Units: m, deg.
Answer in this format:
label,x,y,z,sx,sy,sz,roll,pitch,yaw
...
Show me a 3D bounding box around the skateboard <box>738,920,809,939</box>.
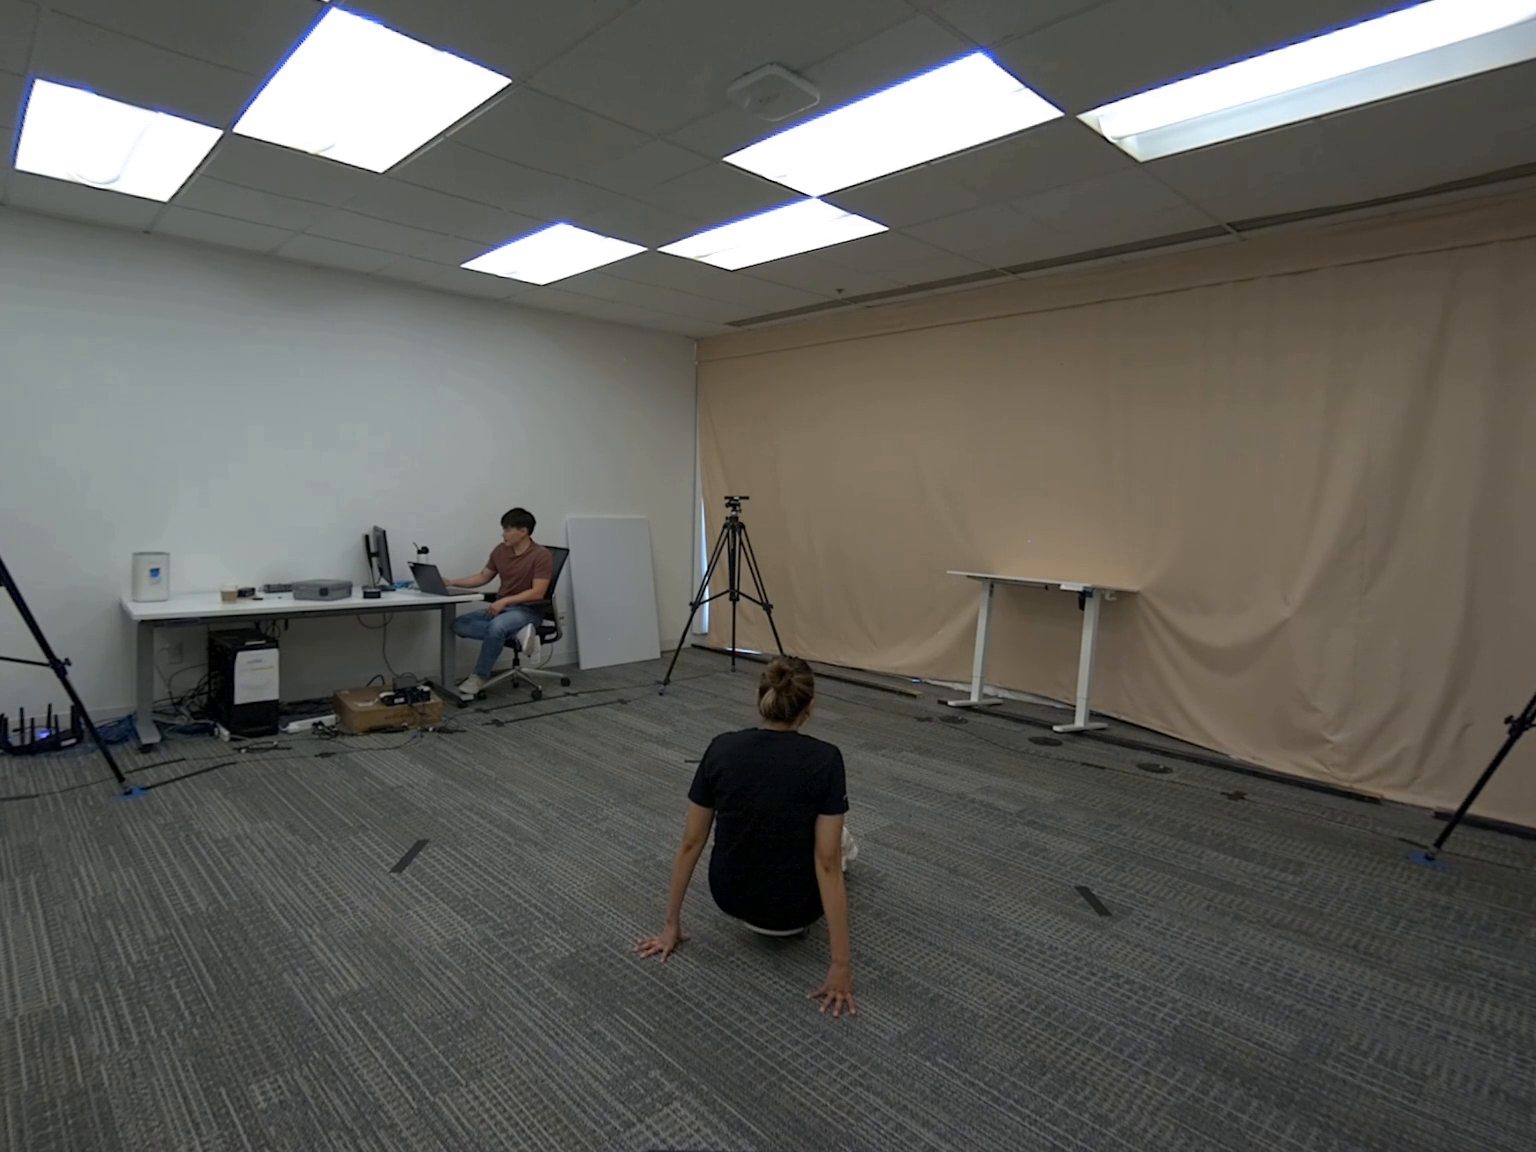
label,x,y,z,sx,sy,sz,roll,pitch,yaw
skateboard,0.112,1.083,2.881,0.196,0.110,0.776,4,6,17
